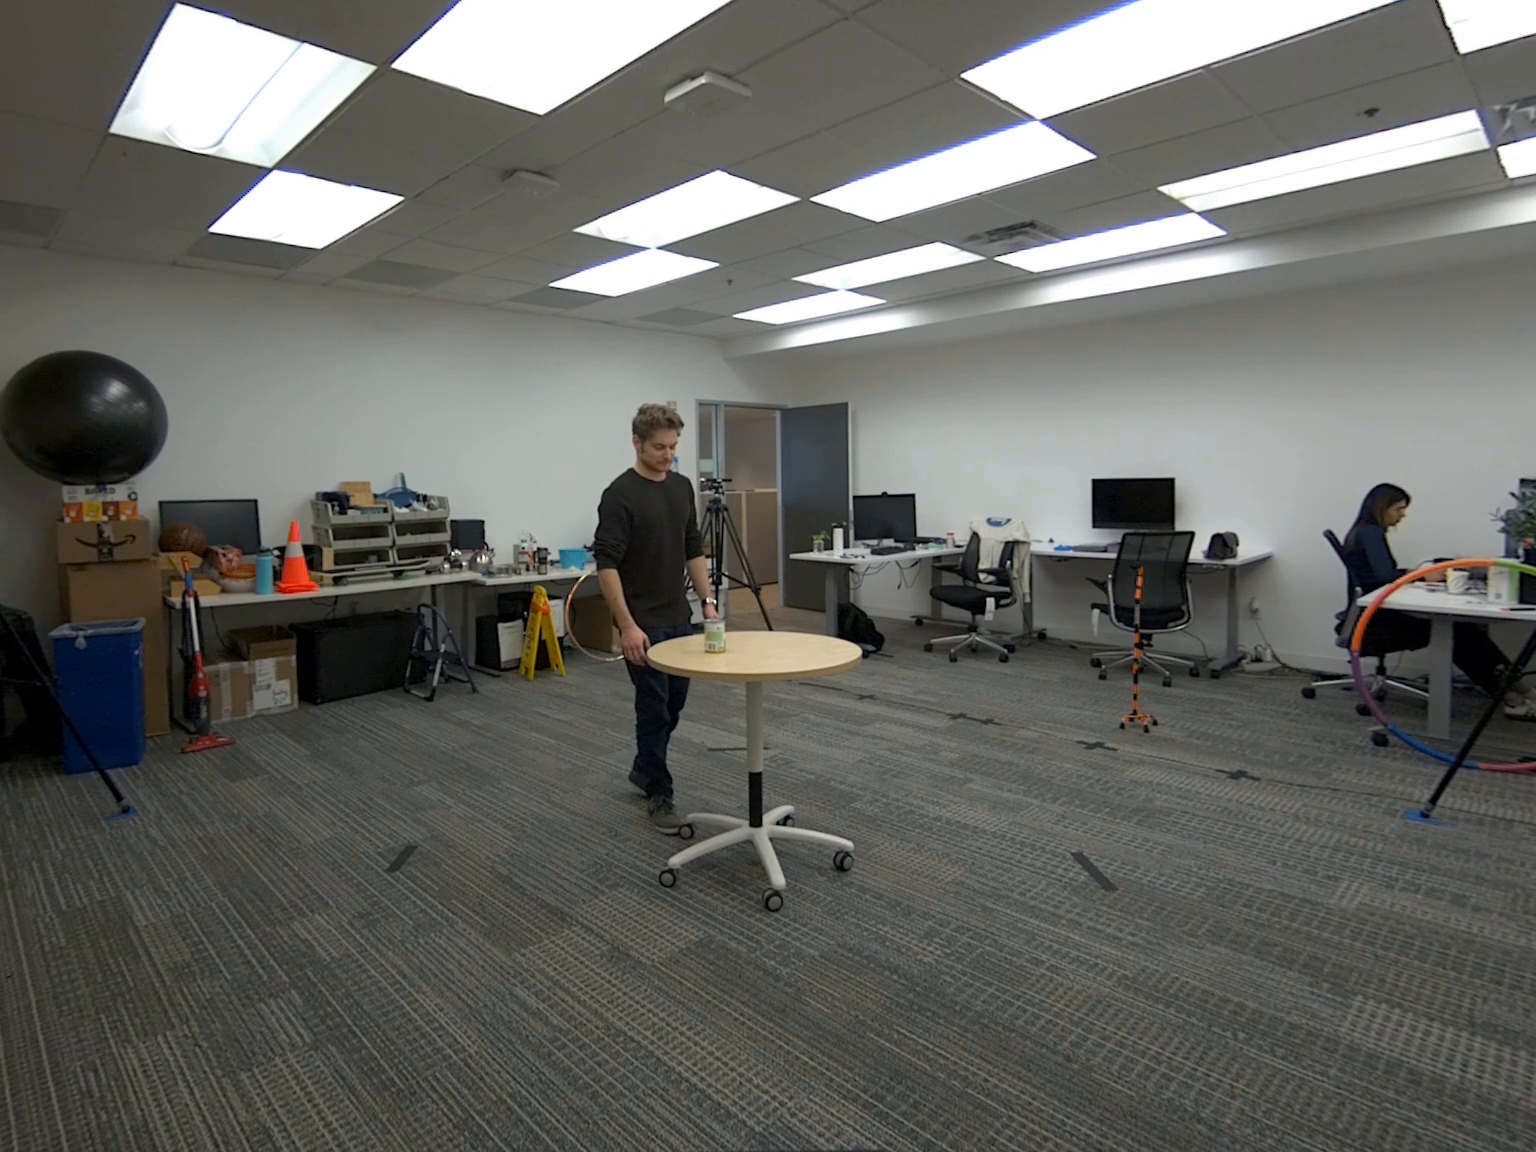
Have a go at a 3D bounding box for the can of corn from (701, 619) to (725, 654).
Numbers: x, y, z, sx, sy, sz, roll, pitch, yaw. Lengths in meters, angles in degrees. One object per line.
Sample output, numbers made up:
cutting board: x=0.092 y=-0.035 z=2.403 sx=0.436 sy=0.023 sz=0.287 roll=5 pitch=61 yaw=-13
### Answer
can of corn: x=-0.185 y=0.216 z=3.029 sx=0.074 sy=0.110 sz=0.074 roll=-1 pitch=5 yaw=-2
